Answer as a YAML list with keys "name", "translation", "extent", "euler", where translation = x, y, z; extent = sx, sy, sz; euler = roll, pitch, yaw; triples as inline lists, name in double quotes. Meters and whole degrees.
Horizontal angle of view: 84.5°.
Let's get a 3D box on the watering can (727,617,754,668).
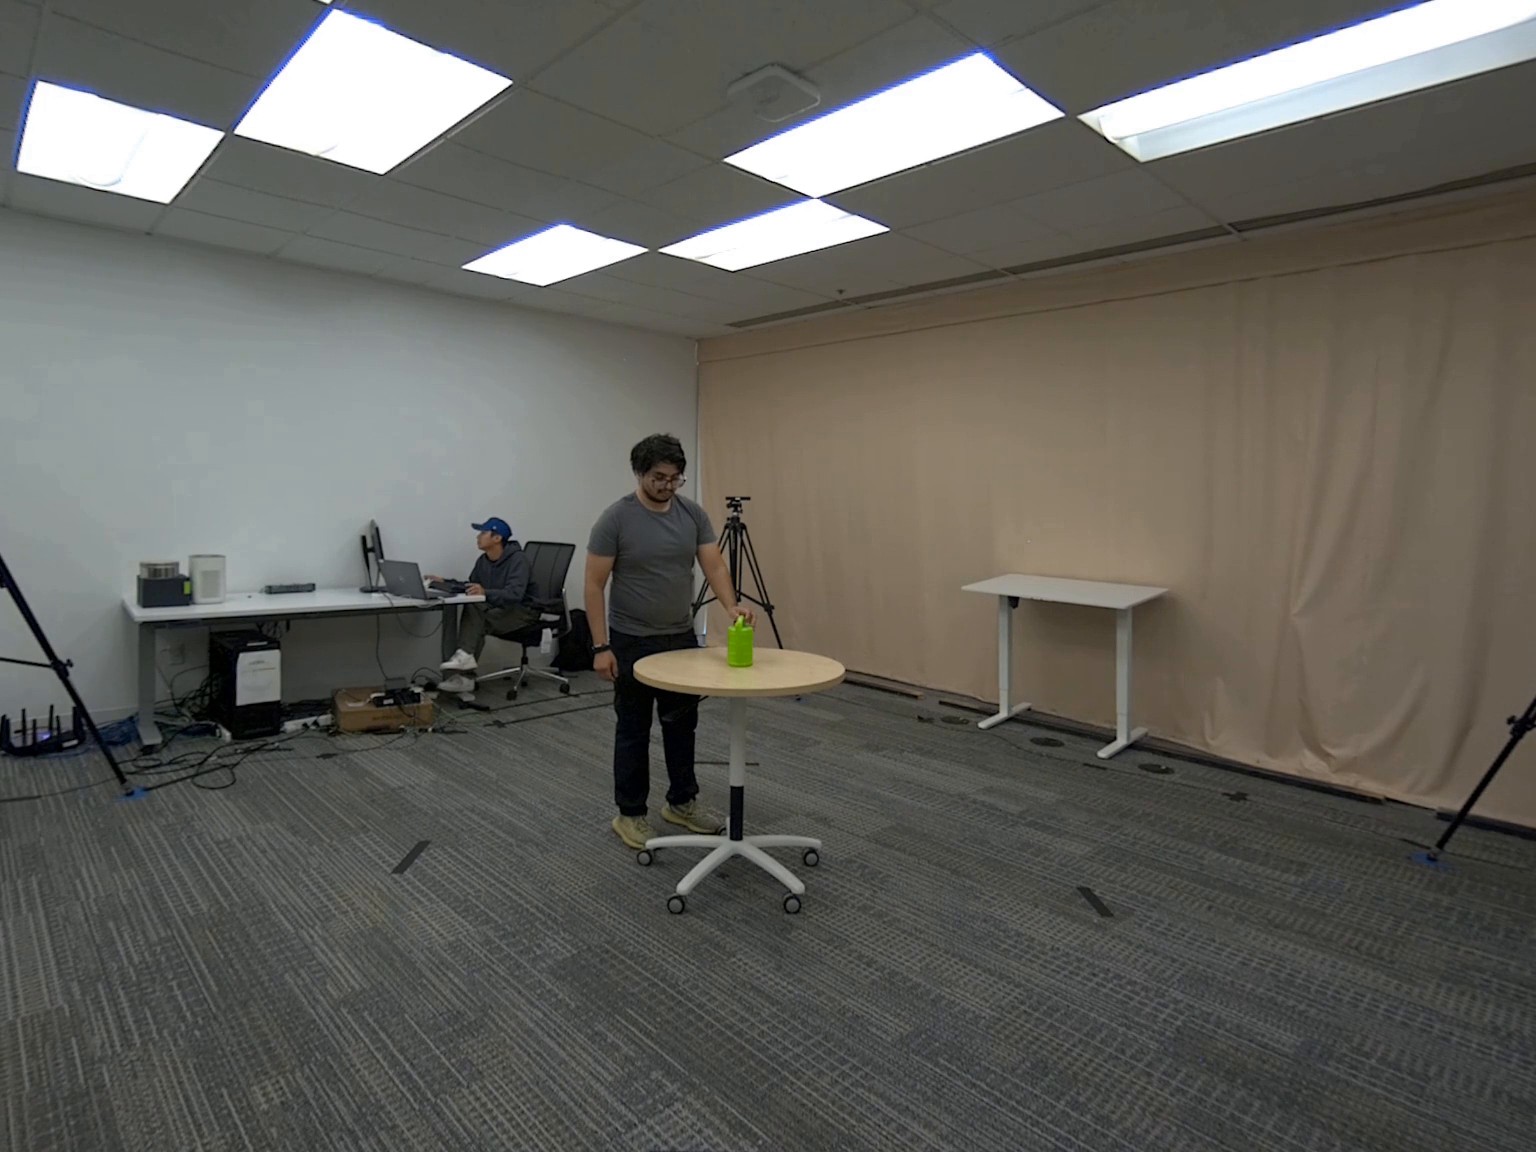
- name: "watering can"
  translation: [-0.124, 0.245, 3.043]
  extent: [0.100, 0.176, 0.274]
  euler: [1, 4, 22]
